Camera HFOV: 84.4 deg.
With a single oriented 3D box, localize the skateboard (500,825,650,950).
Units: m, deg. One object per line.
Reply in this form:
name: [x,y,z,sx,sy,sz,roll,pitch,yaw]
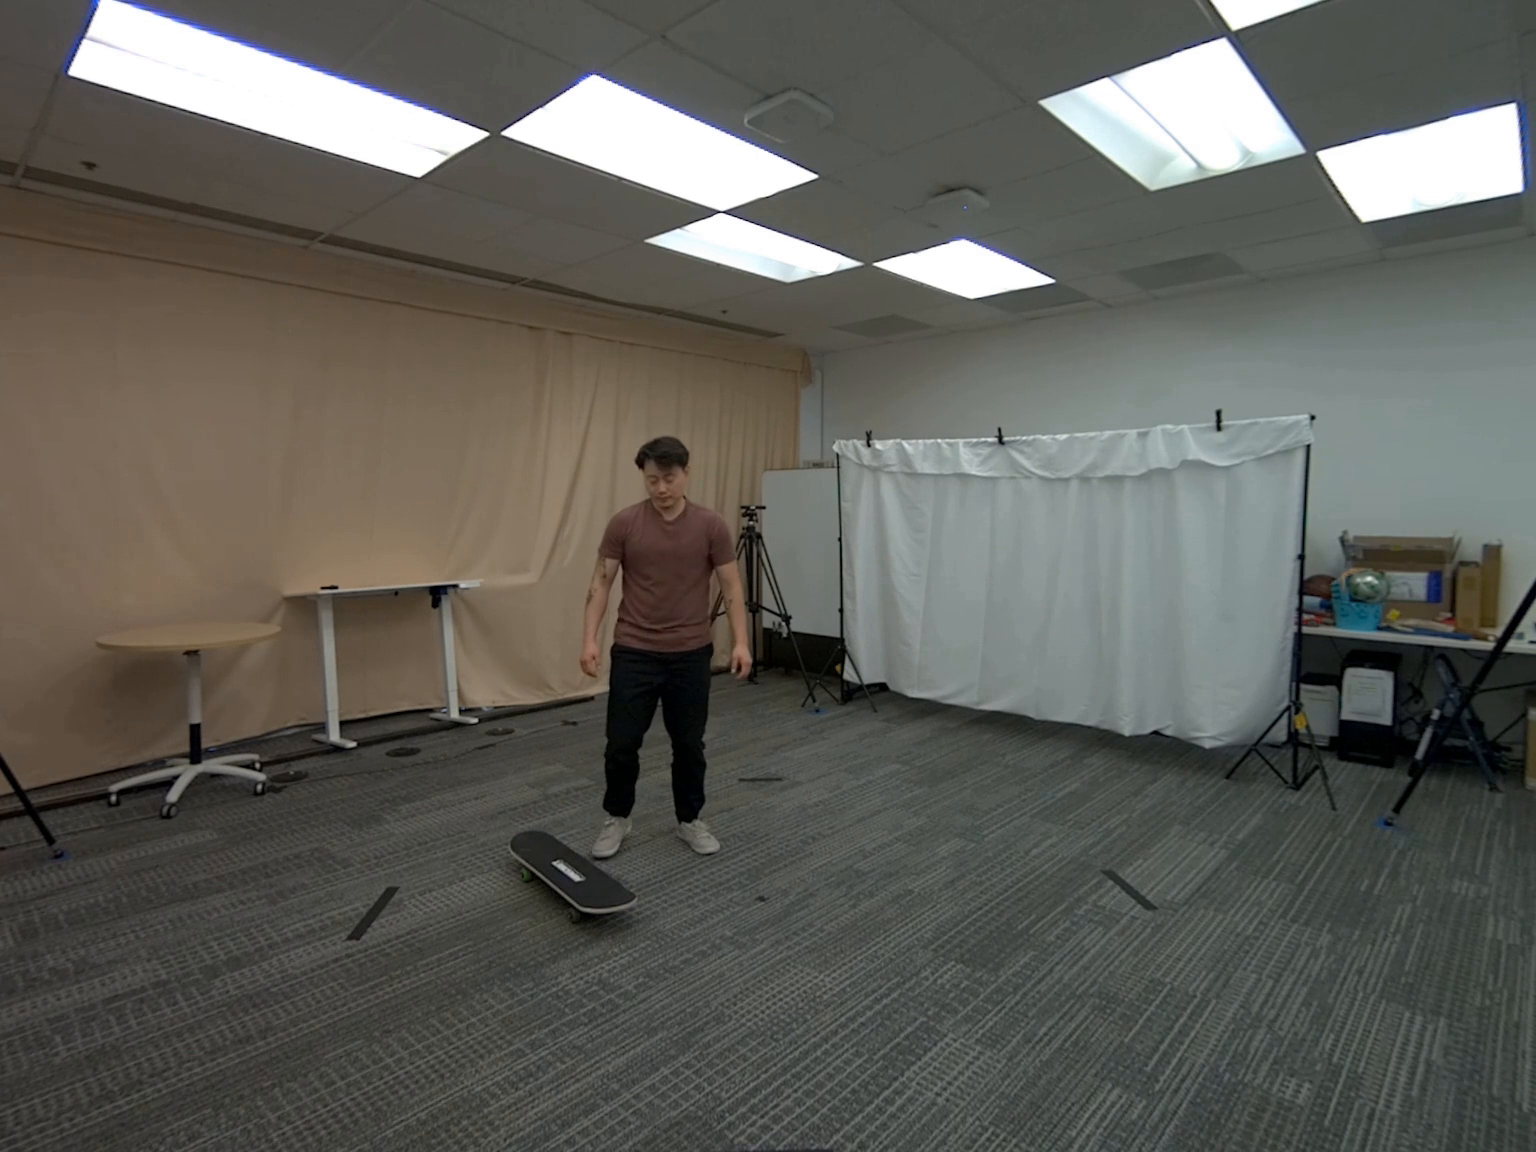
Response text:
skateboard: [-0.716,1.085,3.033,0.188,0.110,0.811,-6,7,-38]
